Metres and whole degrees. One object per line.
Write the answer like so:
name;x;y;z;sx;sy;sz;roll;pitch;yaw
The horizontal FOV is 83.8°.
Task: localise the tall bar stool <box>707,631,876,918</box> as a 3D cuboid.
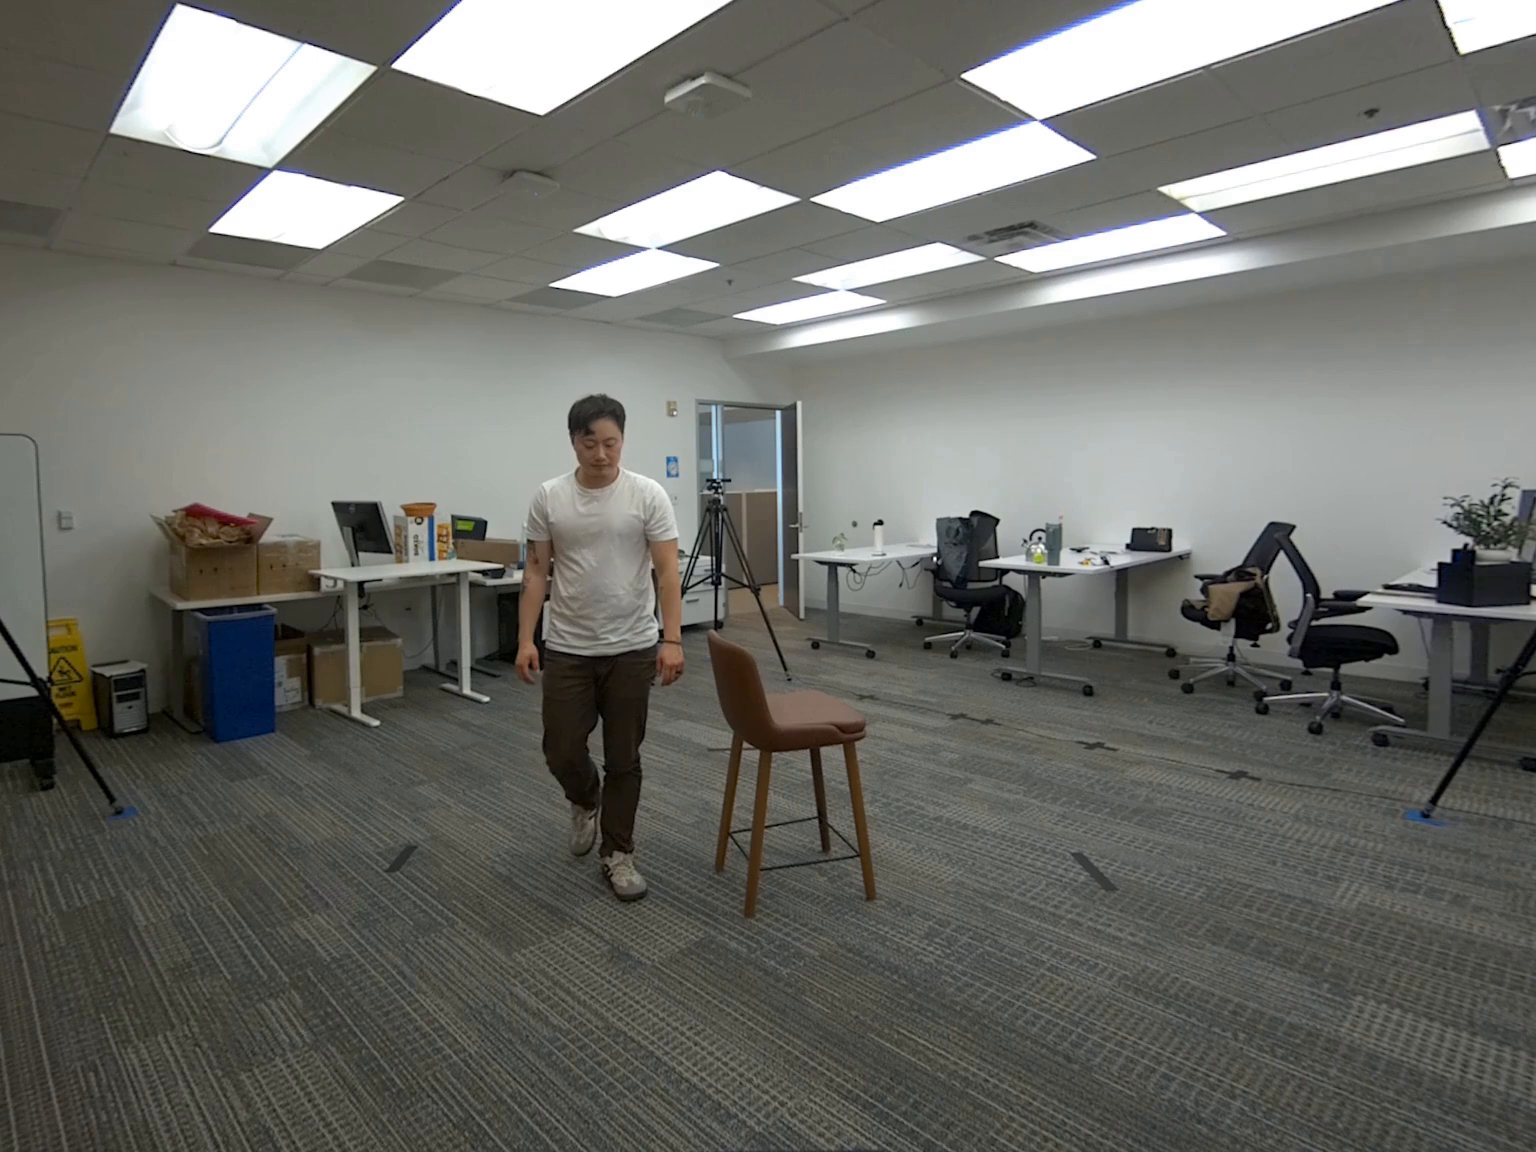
tall bar stool;0.065;0.623;2.924;0.460;0.886;0.466;-5;5;-18
